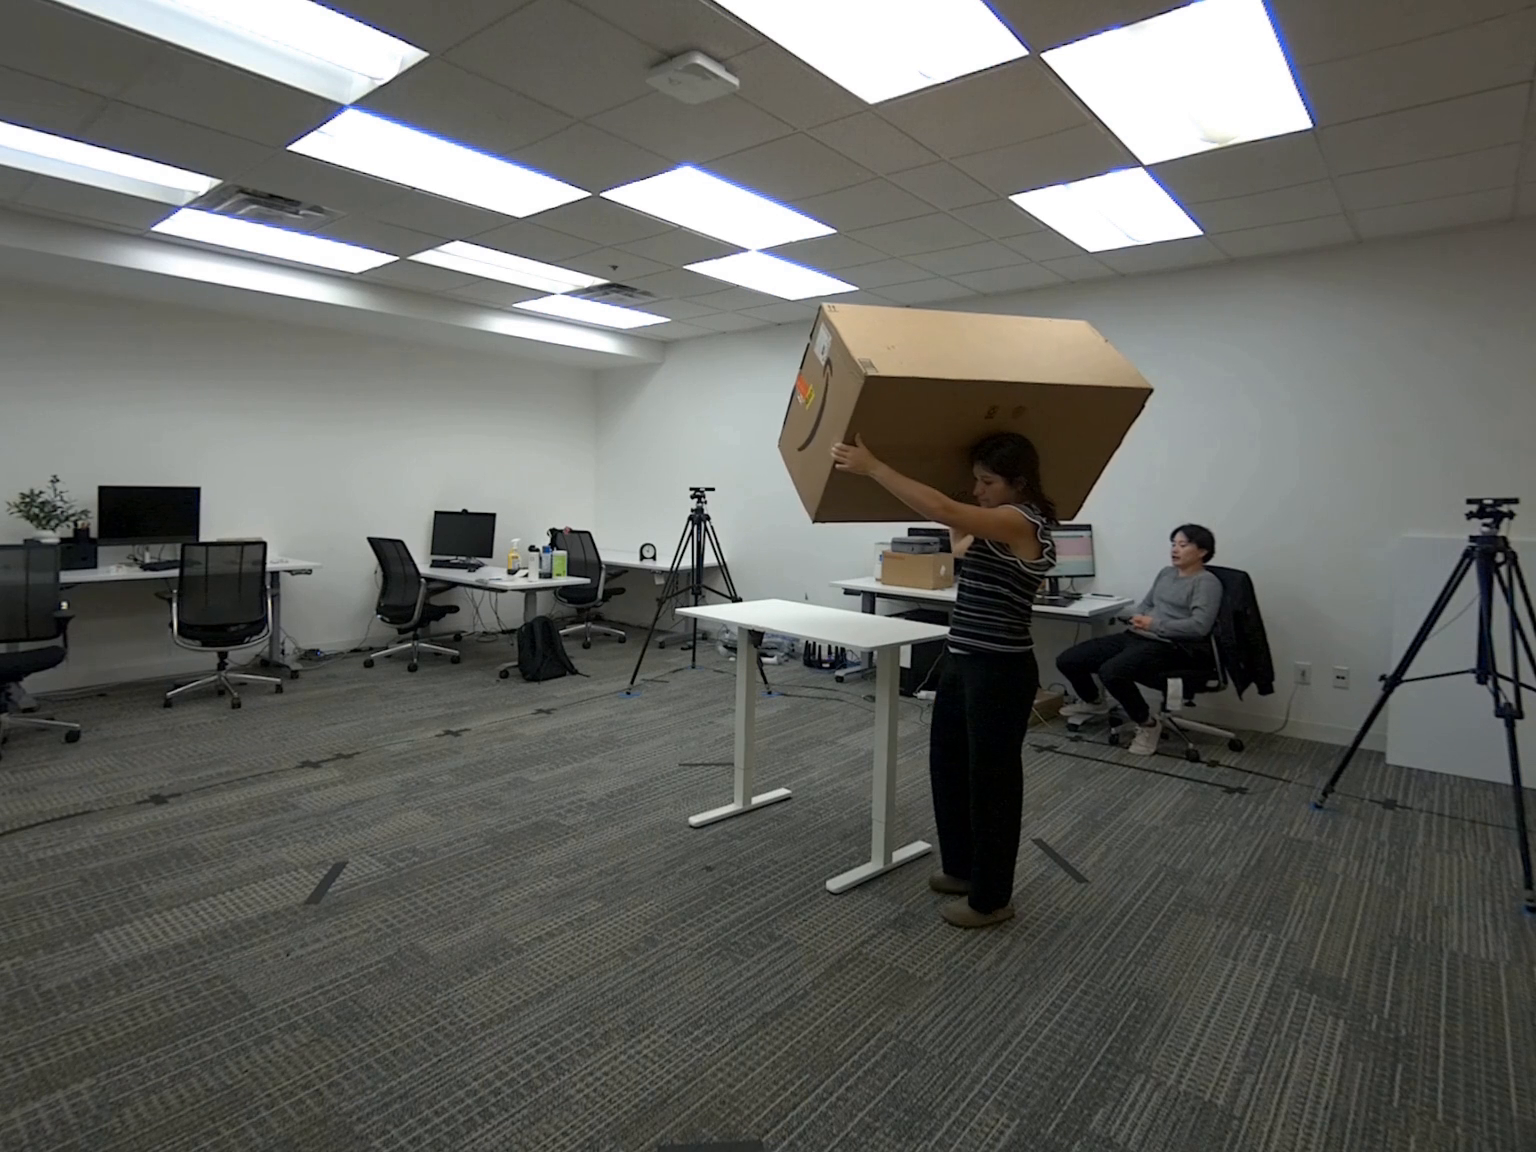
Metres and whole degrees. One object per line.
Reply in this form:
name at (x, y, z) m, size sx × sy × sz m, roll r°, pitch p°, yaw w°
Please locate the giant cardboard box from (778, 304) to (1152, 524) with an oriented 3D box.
giant cardboard box at (0.617, -0.537, 2.895) m, size 1.008 × 0.566 × 0.442 m, roll -1°, pitch 44°, yaw -18°
